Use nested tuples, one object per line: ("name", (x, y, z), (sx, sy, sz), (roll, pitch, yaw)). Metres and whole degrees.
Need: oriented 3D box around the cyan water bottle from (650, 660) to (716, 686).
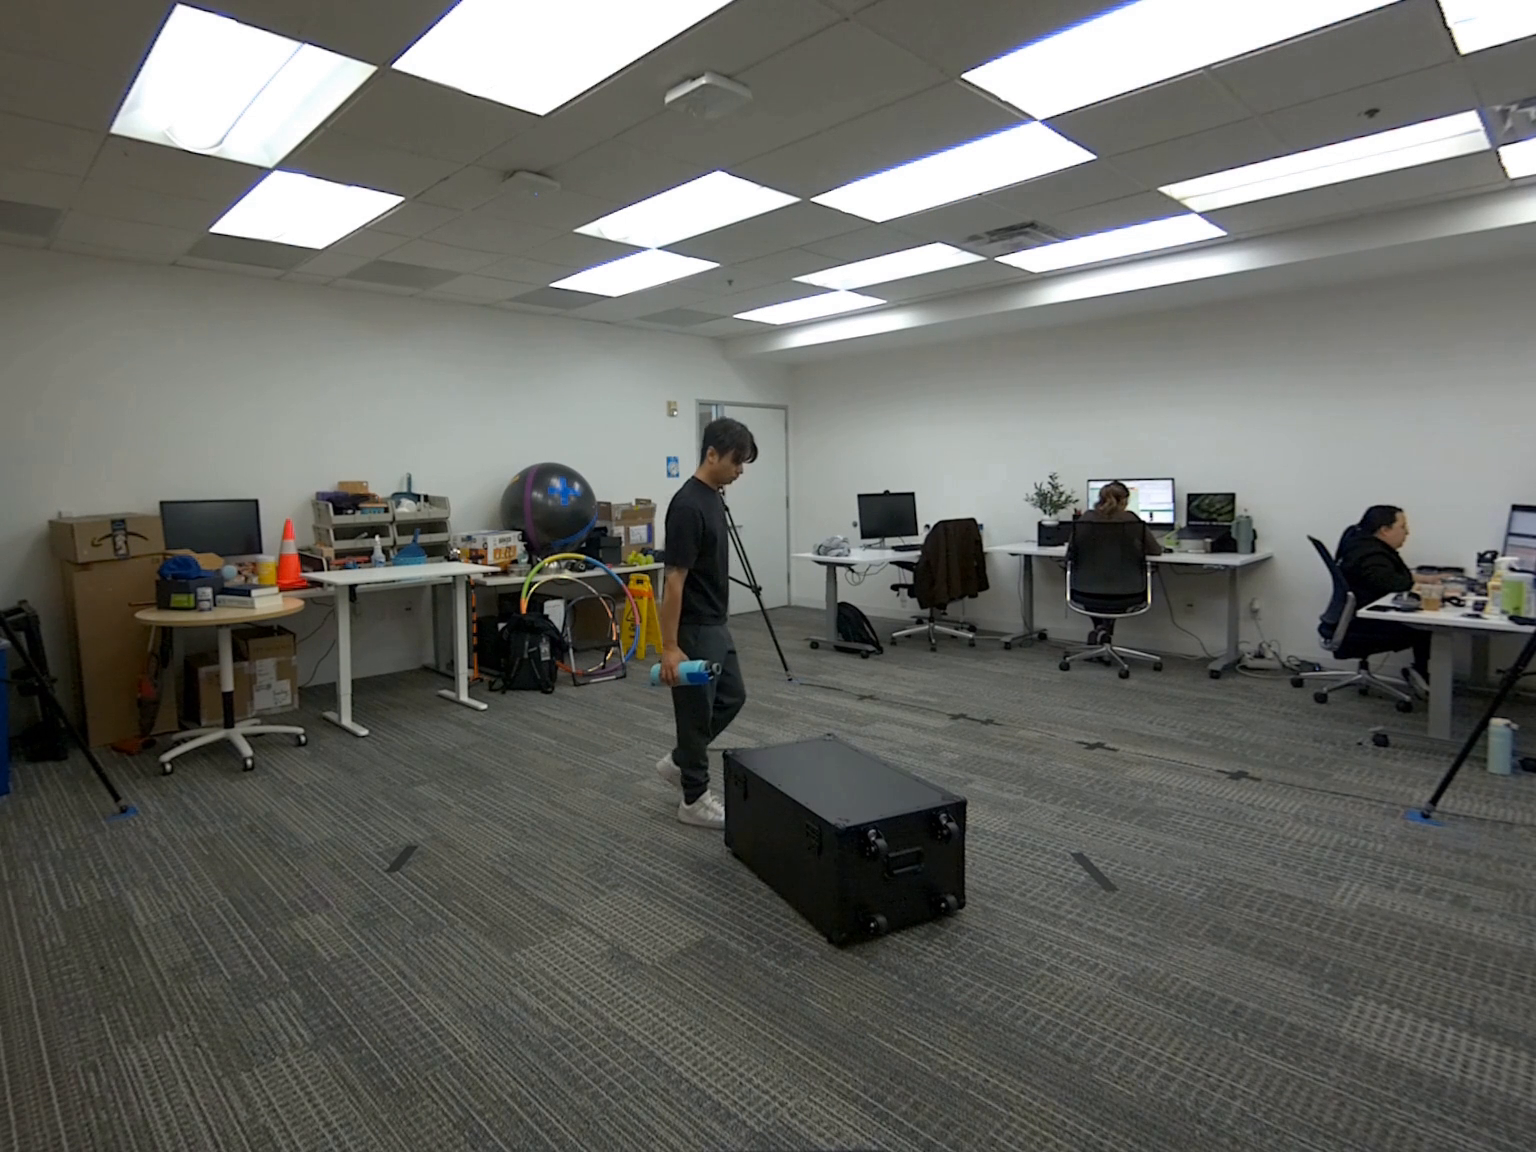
("cyan water bottle", (-0.316, 0.373, 3.267), (0.290, 0.092, 0.090), (-8, 0, 35))
